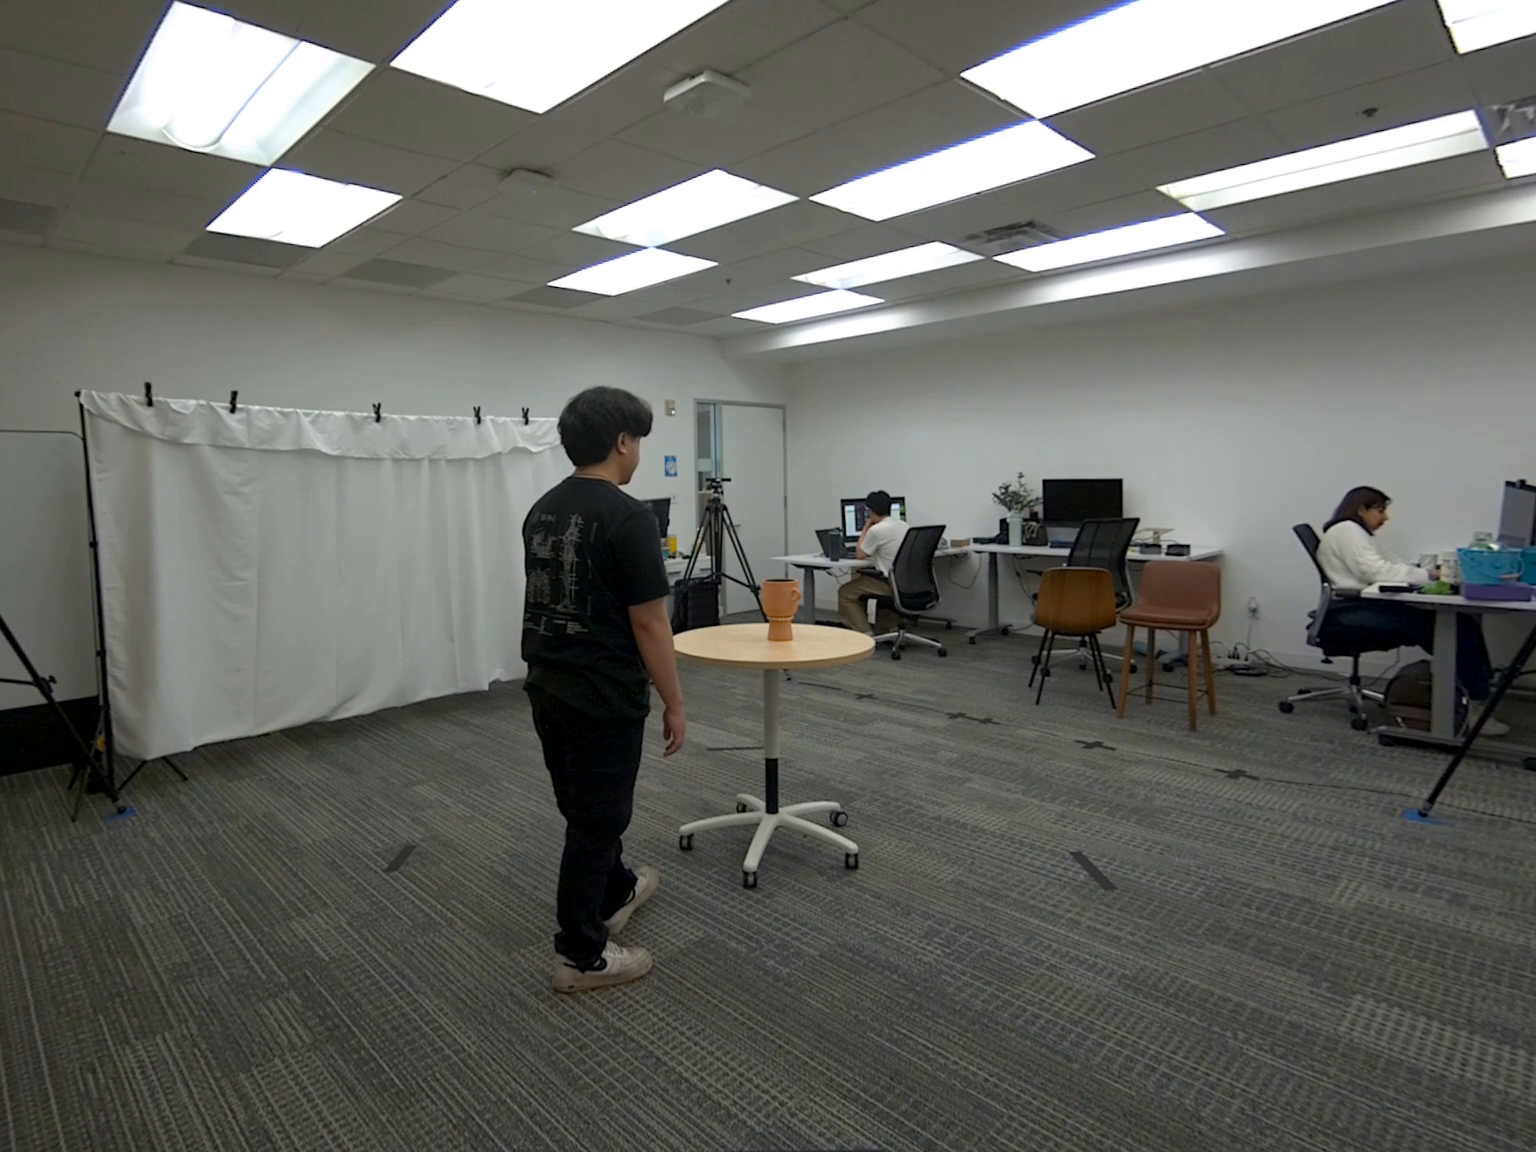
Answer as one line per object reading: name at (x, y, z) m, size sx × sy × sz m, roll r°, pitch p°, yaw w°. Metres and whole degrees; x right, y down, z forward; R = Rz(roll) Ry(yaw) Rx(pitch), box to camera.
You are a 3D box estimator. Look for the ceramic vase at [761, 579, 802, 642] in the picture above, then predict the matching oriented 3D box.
ceramic vase at (0.051, 0.128, 3.198) m, size 0.134 × 0.219 × 0.160 m, roll -1°, pitch 3°, yaw -7°
